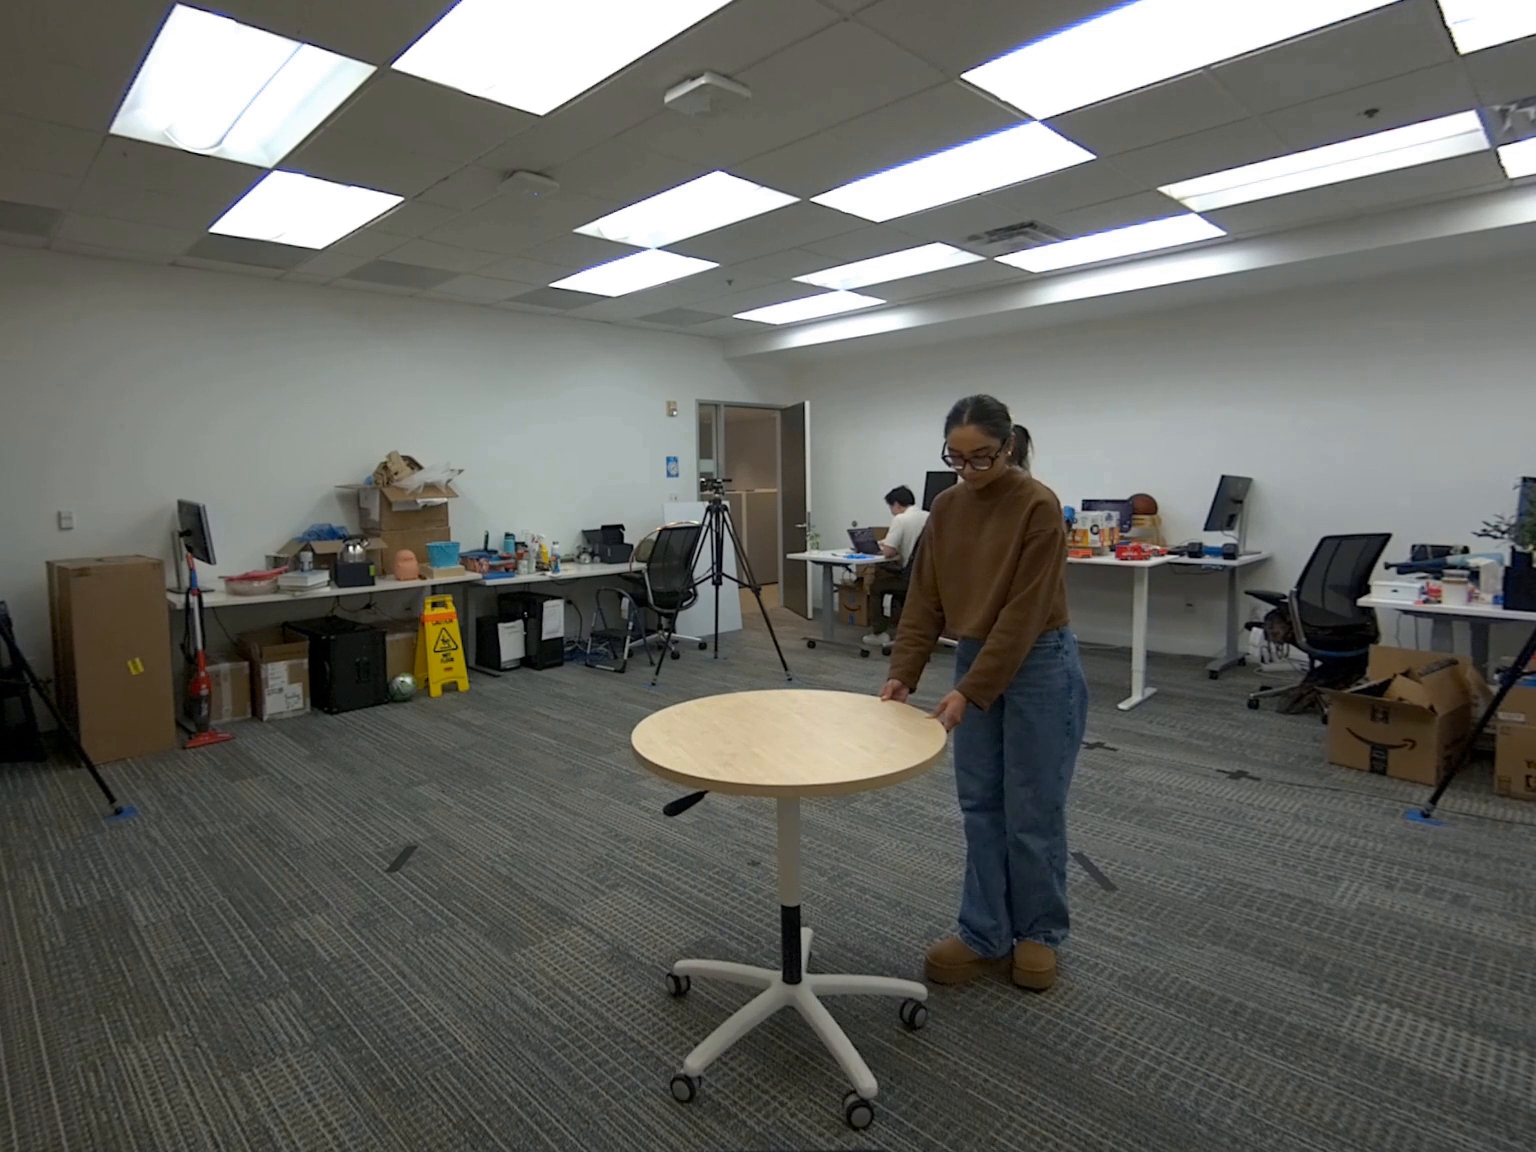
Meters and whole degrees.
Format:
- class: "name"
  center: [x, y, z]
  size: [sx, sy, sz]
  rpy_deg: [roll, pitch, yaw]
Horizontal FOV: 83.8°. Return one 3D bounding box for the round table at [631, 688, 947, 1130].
- class: "round table"
  center: [0.063, 0.769, 2.136]
  size: [0.763, 0.790, 0.768]
  rpy_deg: [-2, 5, -1]
